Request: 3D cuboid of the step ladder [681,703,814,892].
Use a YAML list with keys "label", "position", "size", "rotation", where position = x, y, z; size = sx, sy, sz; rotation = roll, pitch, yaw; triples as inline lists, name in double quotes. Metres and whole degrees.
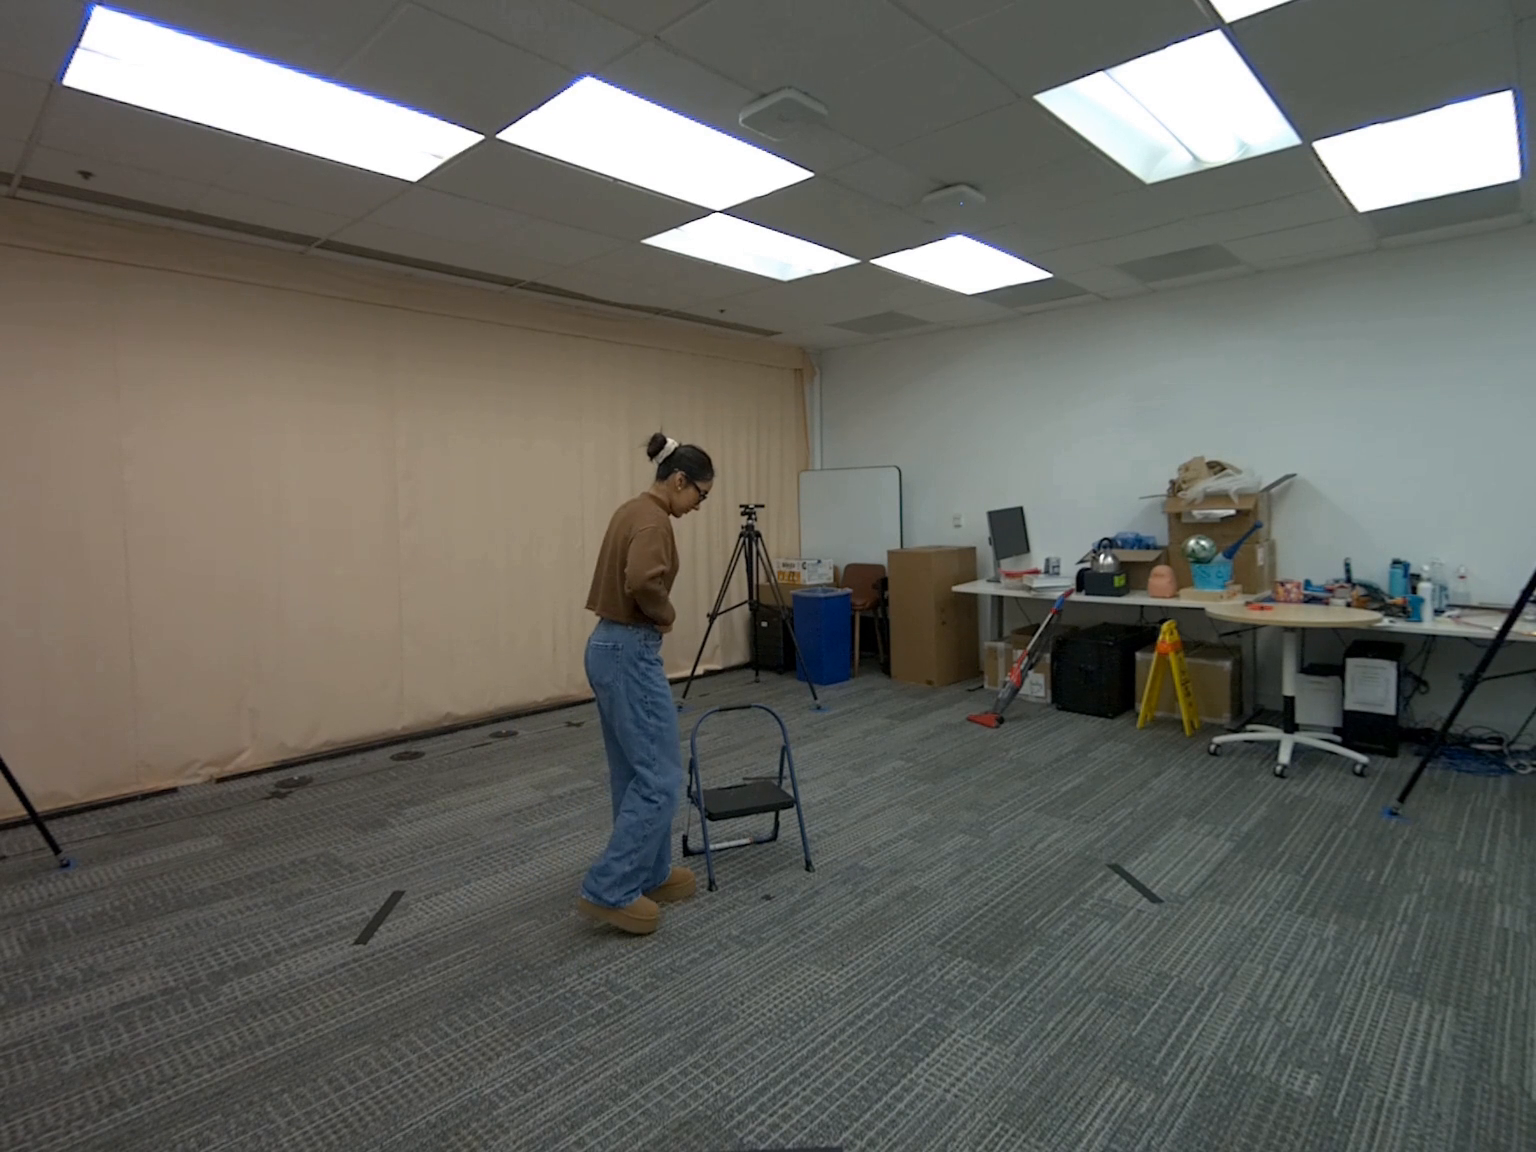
- label: "step ladder"
  position: [-0.084, 0.816, 3.261]
  size: [0.421, 0.604, 0.358]
  rotation: [-3, 4, -23]
